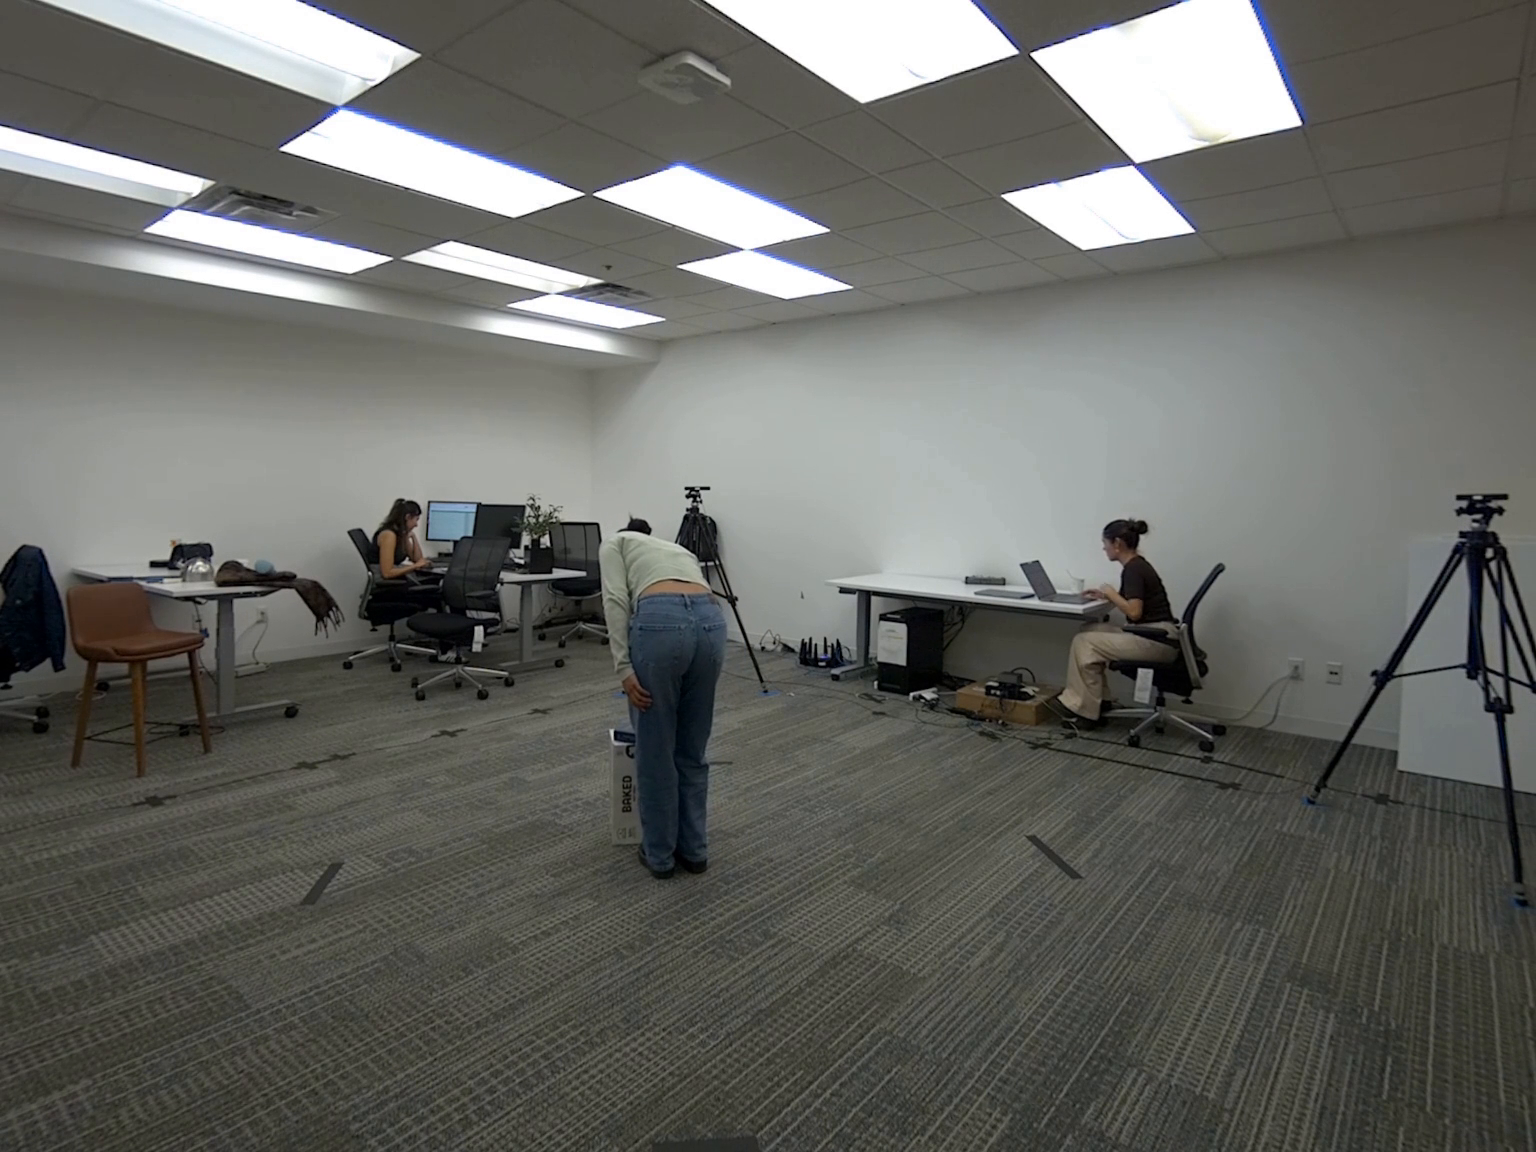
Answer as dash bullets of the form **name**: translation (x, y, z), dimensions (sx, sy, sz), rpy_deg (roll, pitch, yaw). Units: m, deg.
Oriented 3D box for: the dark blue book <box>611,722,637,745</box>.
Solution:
- **dark blue book**: translation (-0.480, 0.618, 3.333), dimensions (0.250, 0.045, 0.161), rpy_deg (4, 7, 20)
